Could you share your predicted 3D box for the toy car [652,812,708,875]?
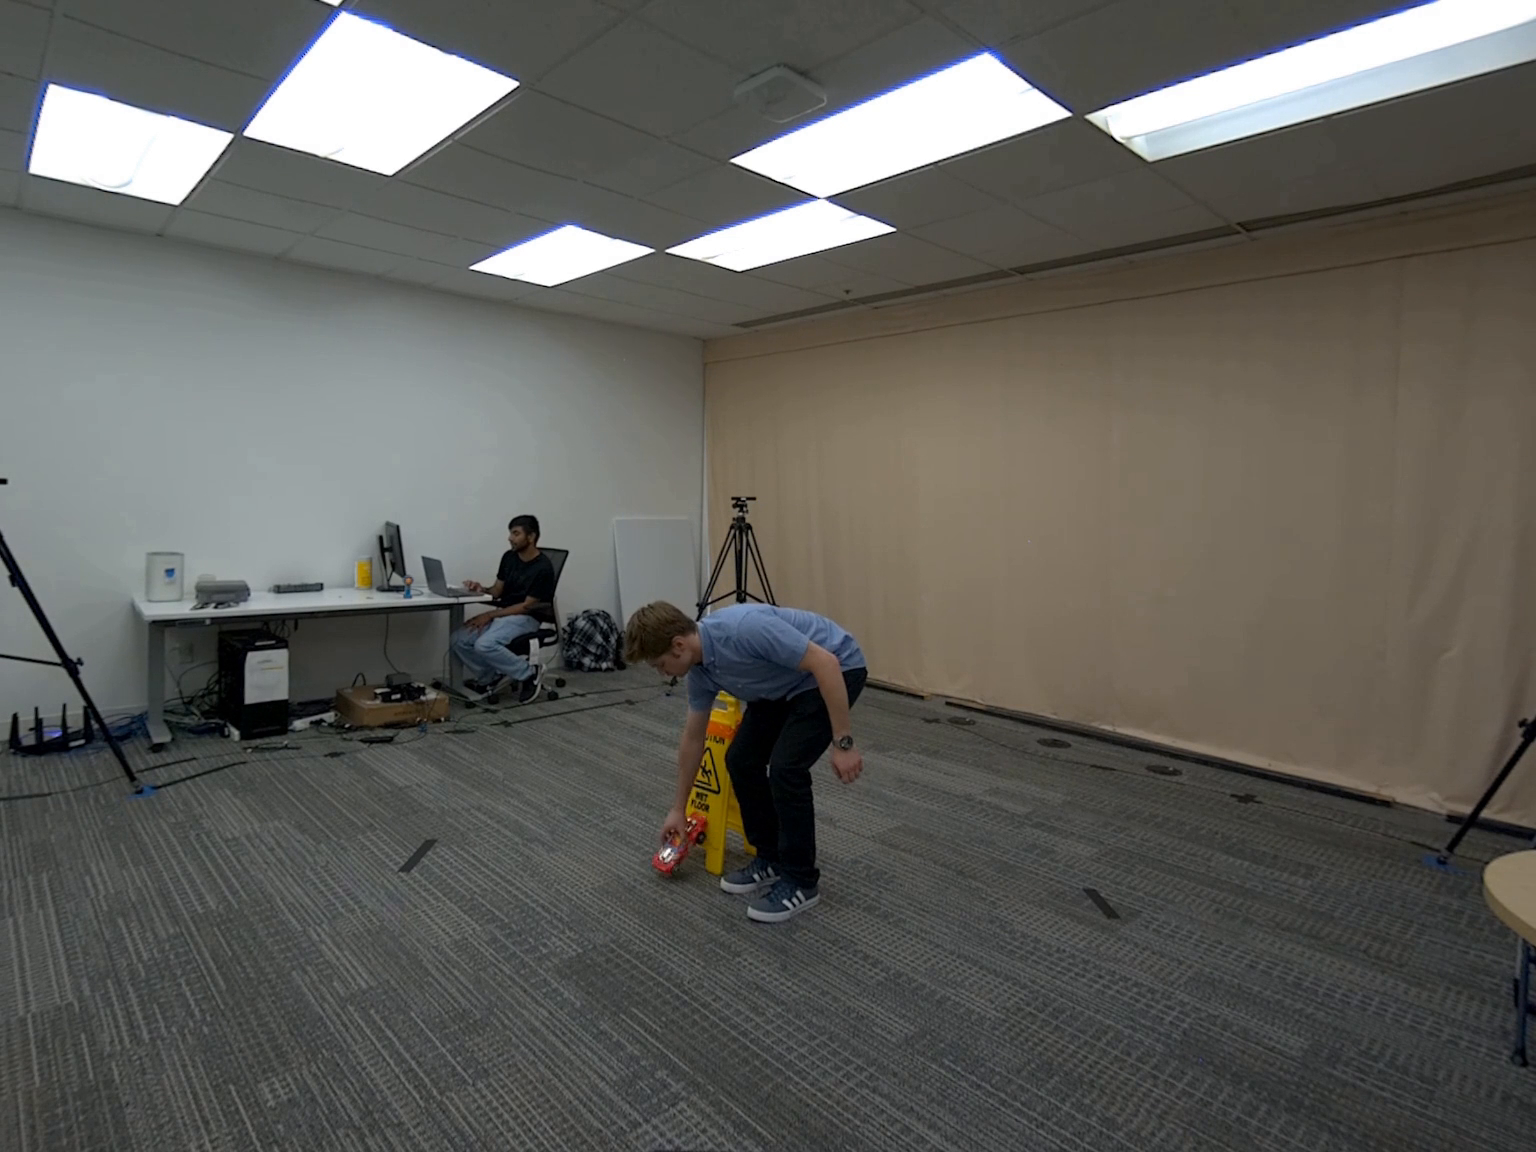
[{"bbox_3d":[-0.324,0.981,3.124,0.134,0.255,0.081,10,-33,42],"label":"toy car"}]
